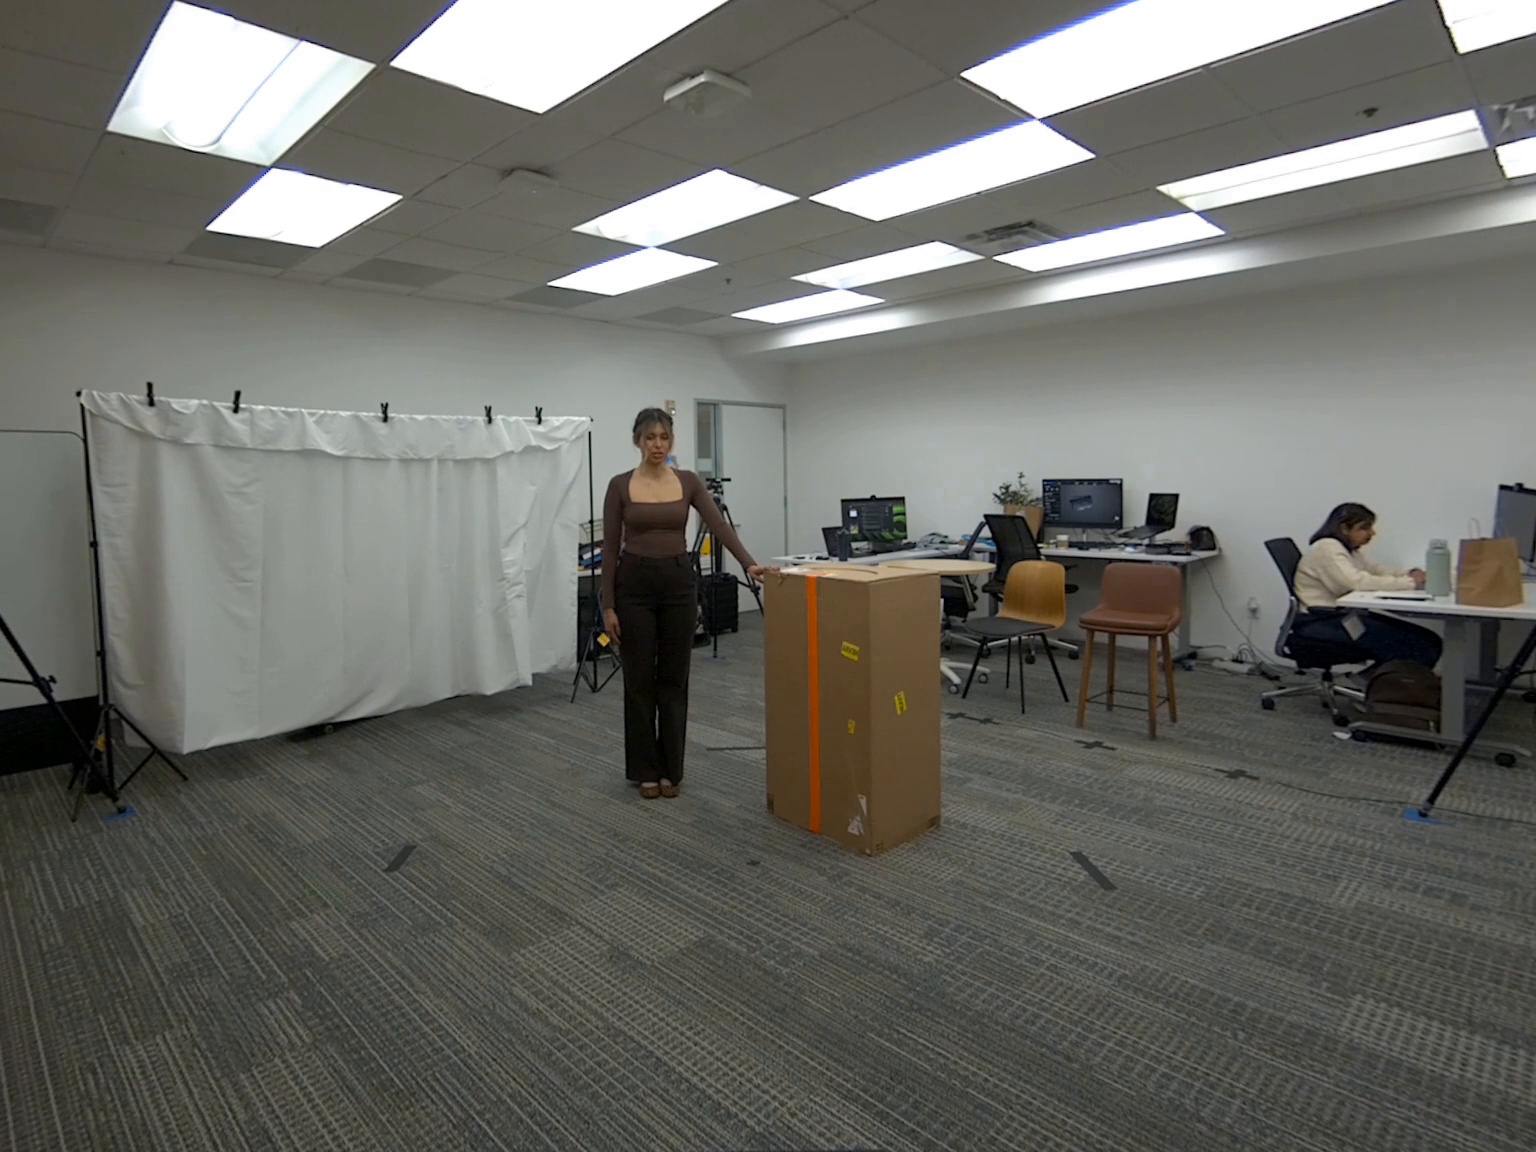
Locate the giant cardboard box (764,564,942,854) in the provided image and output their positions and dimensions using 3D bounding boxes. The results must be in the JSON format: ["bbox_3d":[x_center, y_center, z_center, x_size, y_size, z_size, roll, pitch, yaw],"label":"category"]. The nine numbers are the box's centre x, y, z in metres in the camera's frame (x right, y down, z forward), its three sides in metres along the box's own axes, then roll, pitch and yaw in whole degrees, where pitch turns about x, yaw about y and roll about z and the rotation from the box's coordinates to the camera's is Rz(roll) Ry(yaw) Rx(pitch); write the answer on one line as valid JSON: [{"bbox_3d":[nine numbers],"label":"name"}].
[{"bbox_3d":[0.335,0.486,3.456,0.435,1.023,0.602,-5,6,-39],"label":"giant cardboard box"}]
